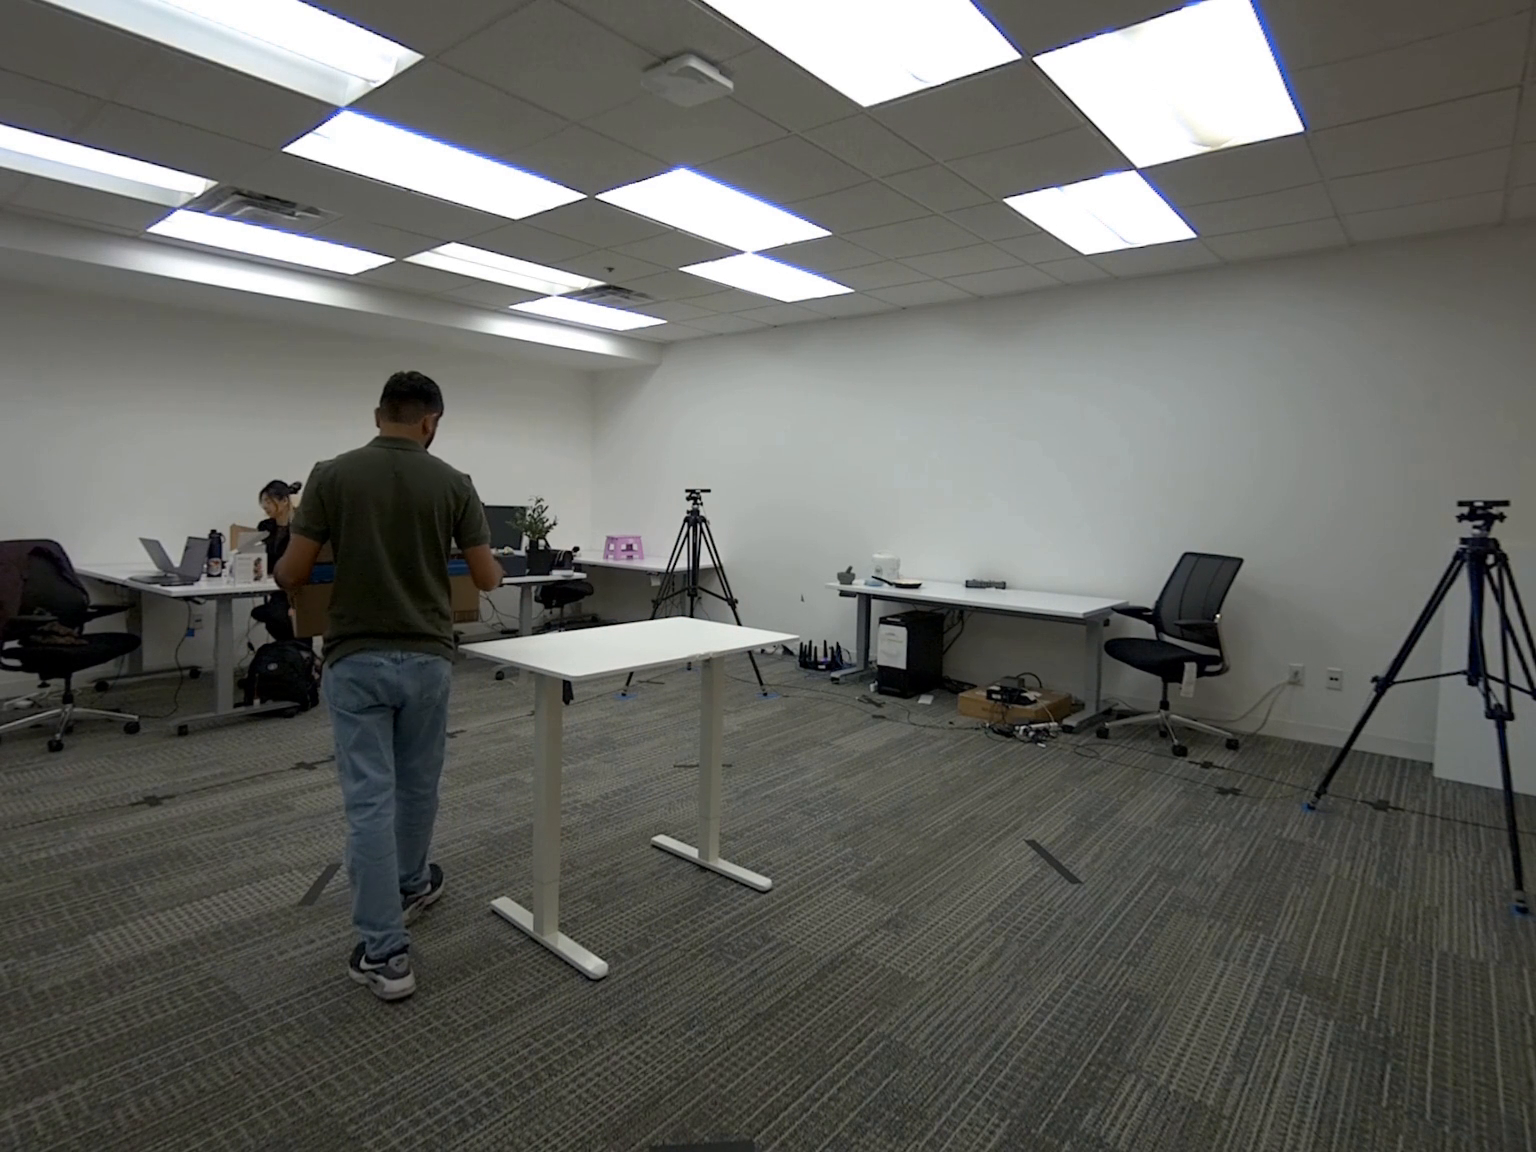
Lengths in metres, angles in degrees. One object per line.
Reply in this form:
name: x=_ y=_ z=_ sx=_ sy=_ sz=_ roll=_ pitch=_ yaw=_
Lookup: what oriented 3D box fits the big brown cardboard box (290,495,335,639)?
big brown cardboard box: x=-1.255 y=-0.055 z=2.800 sx=0.574 sy=0.413 sz=0.242 roll=-4 pitch=15 yaw=-29
